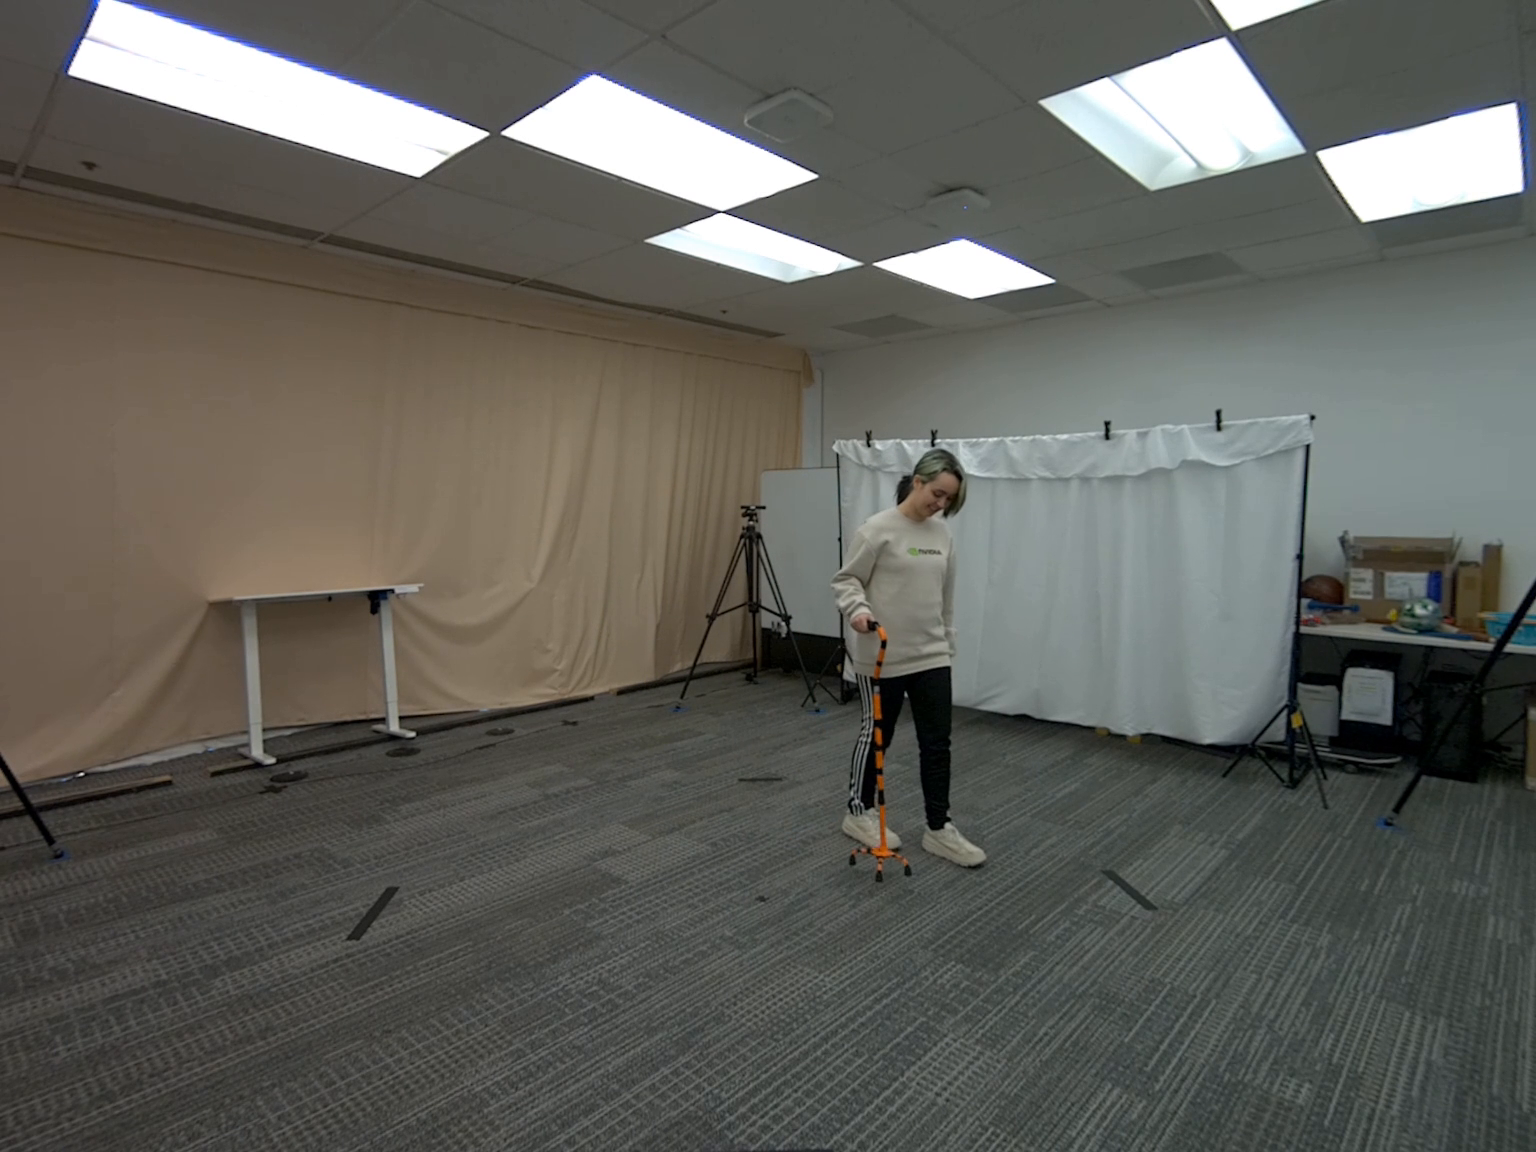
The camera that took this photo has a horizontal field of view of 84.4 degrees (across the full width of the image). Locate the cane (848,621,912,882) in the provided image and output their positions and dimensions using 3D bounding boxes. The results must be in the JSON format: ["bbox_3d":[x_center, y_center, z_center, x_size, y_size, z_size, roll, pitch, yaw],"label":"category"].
[{"bbox_3d":[0.391,0.634,3.085,0.148,0.906,0.212,-3,2,-28],"label":"cane"}]
